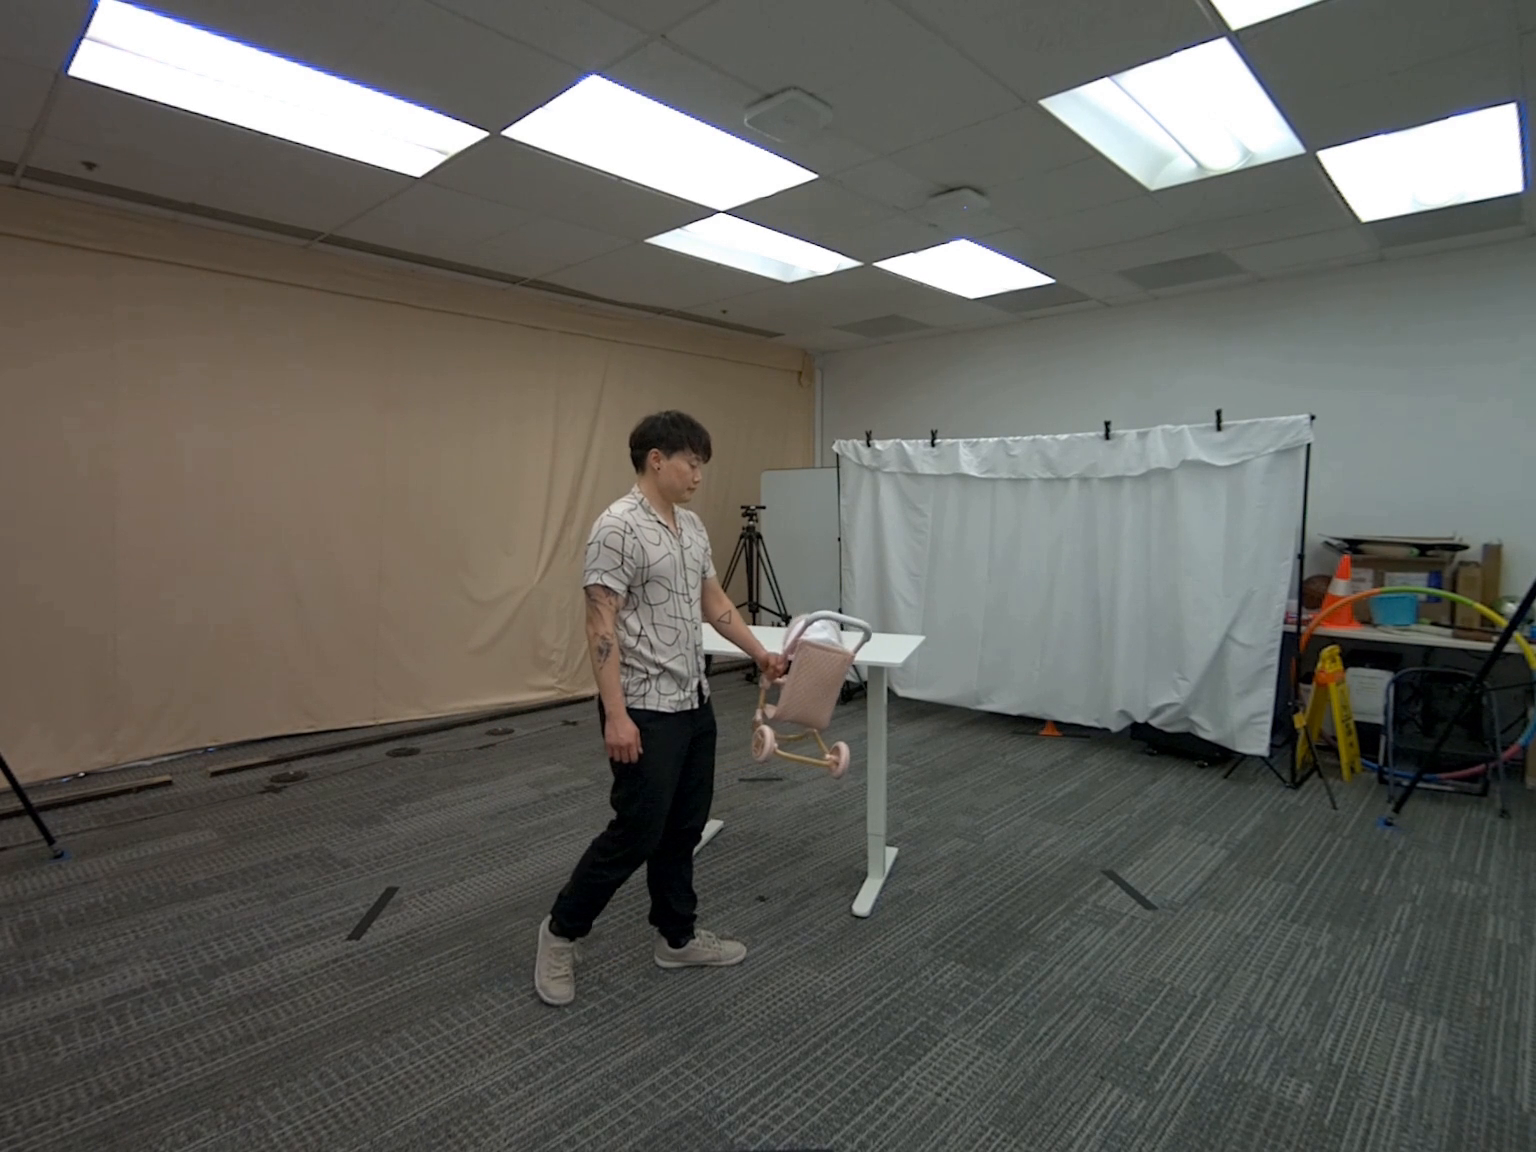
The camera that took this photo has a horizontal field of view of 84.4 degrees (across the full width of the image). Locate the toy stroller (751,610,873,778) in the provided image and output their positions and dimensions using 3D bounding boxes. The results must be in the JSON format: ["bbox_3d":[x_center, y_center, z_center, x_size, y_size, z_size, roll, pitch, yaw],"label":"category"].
[{"bbox_3d":[0.109,0.347,2.561,0.277,0.535,0.347,15,1,-15],"label":"toy stroller"}]
